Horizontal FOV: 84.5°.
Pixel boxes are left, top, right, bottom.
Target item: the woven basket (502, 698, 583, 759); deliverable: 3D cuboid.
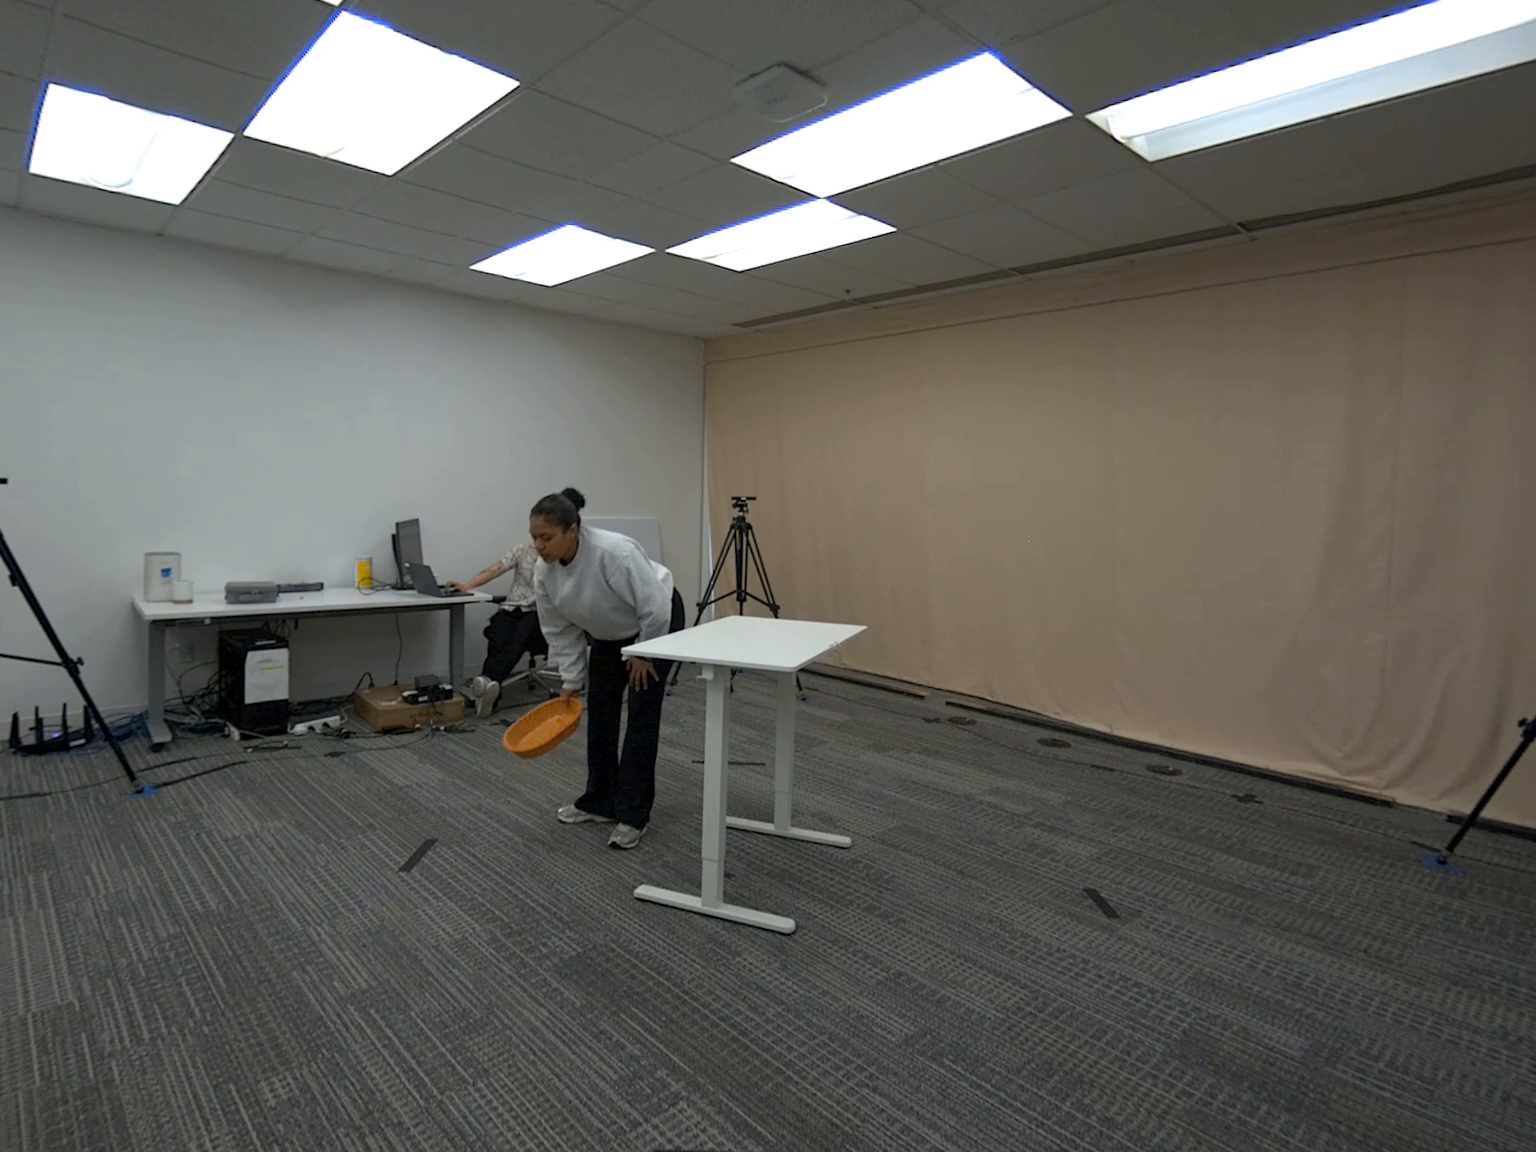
[{"bbox_3d":[-0.901,0.621,3.314,0.258,0.072,0.349,3,29,35],"label":"woven basket"}]
